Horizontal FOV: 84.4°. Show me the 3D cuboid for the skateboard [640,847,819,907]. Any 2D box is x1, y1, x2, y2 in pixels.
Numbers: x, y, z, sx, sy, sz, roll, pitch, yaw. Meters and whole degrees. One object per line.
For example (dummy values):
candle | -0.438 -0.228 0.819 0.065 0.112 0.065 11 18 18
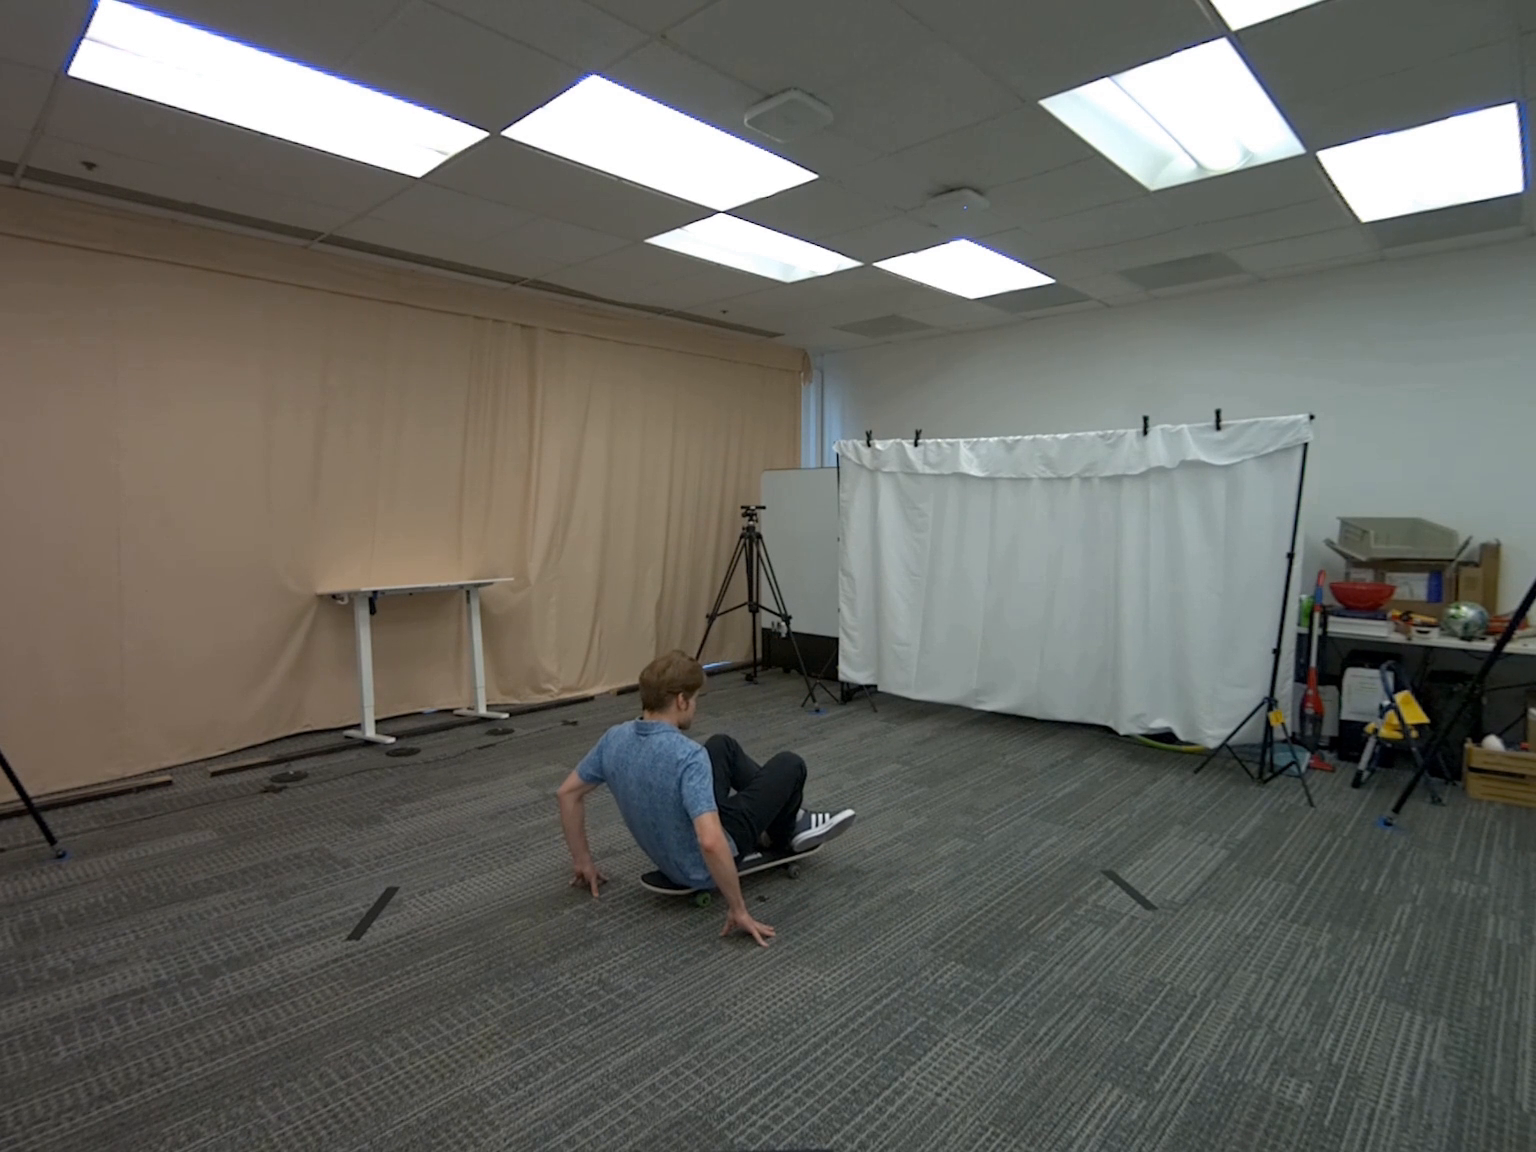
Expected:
skateboard | -0.111 1.094 3.109 0.763 0.110 0.199 -4 5 -34
